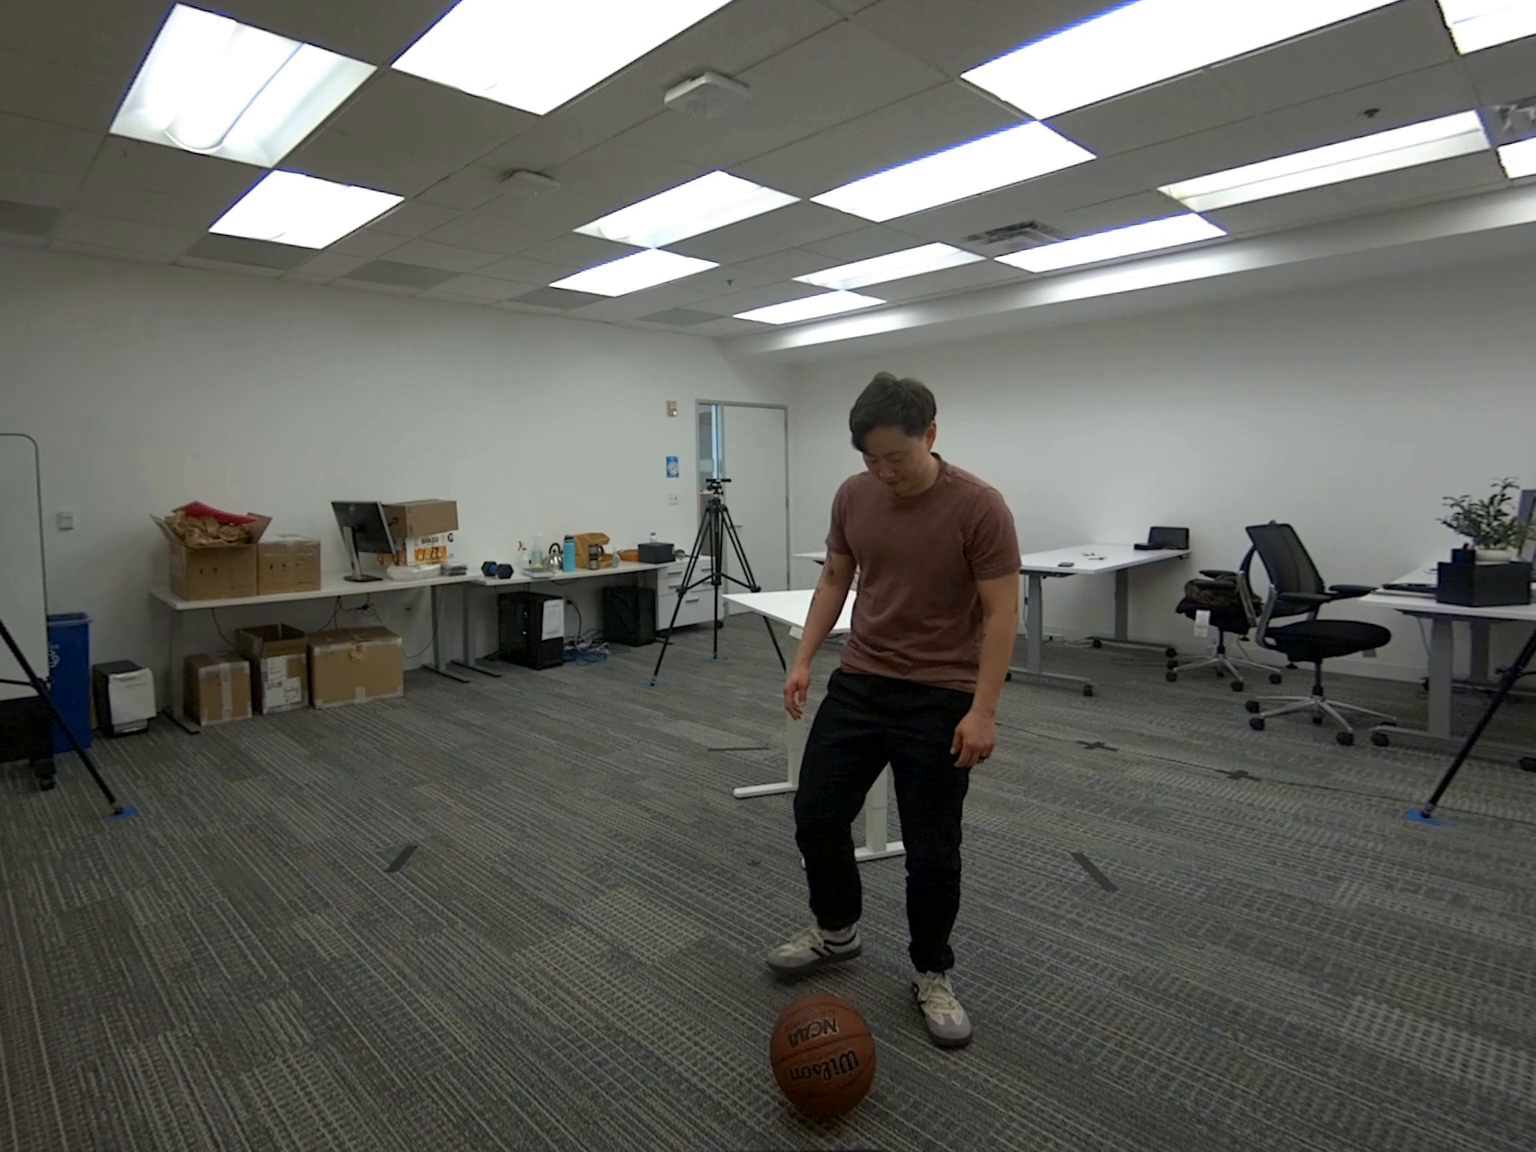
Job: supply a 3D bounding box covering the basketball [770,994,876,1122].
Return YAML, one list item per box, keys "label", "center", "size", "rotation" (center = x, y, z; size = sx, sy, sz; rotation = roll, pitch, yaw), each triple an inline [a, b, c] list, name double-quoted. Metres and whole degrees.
- label: "basketball"
  center: [0.128, 1.063, 1.904]
  size: [0.236, 0.235, 0.237]
  rotation: [-1, 5, -2]
